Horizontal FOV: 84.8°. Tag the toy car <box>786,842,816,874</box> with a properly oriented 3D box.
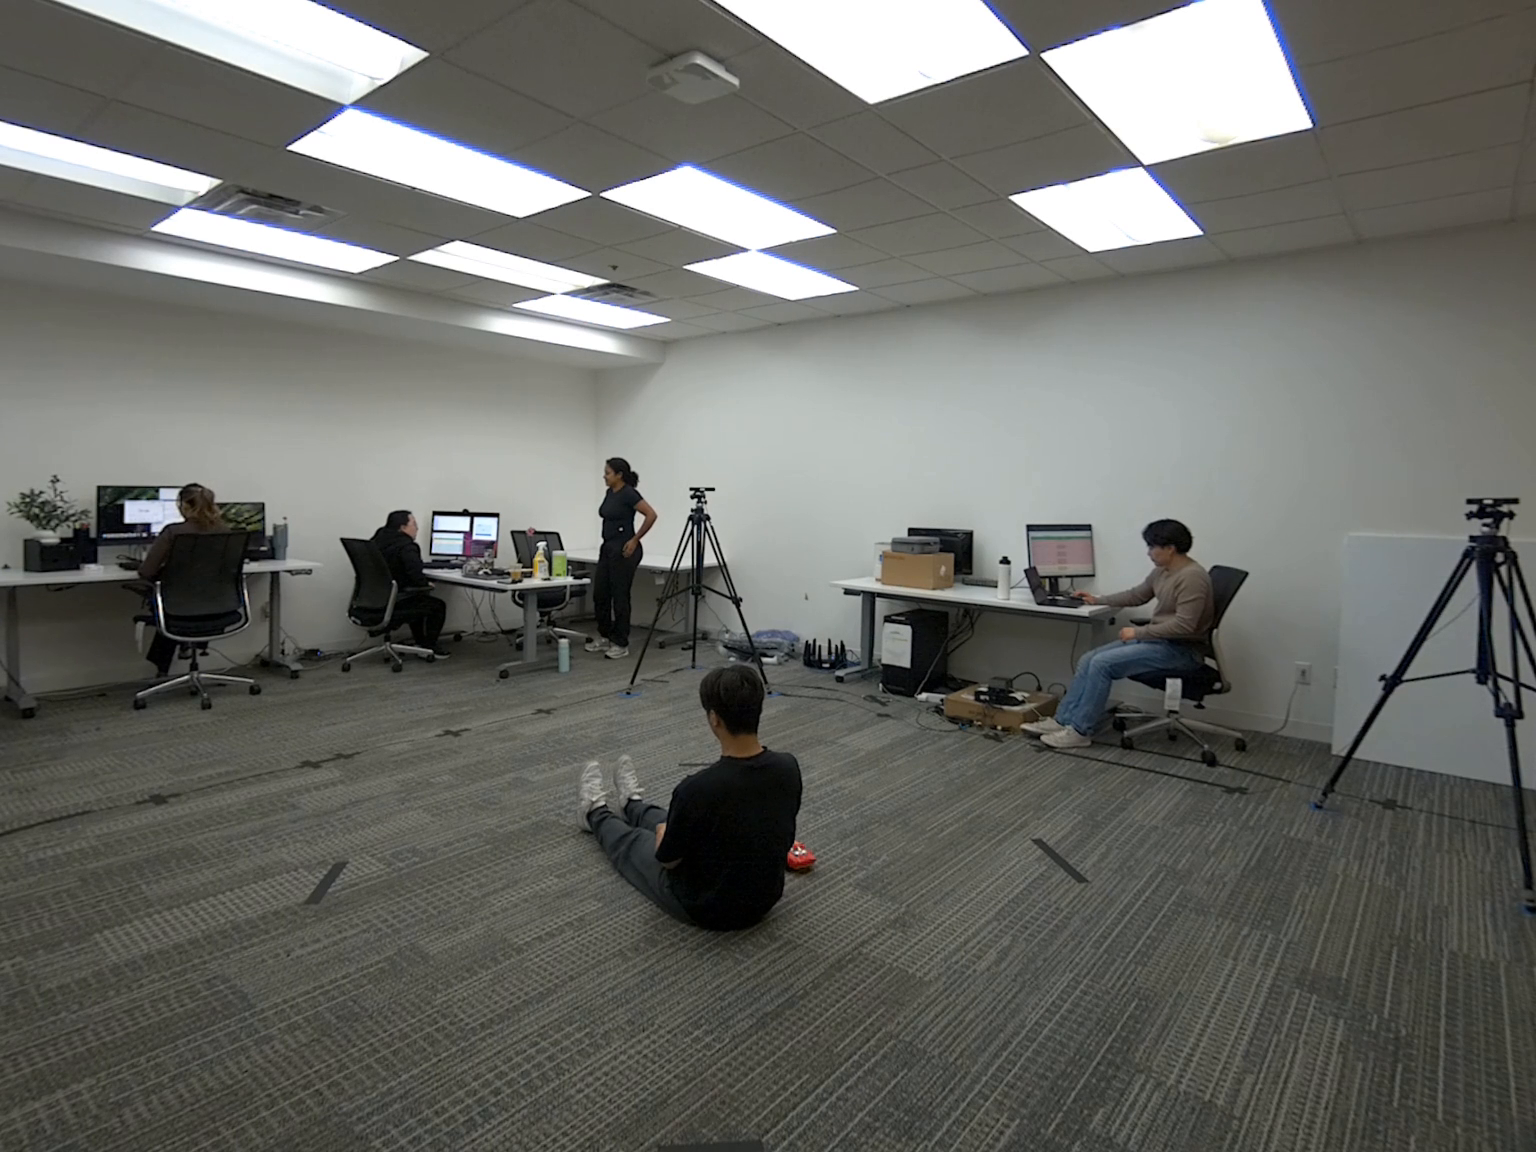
[{"bbox_3d":[0.081,1.038,3.182,0.127,0.084,0.259,0,-6,-28],"label":"toy car"}]
